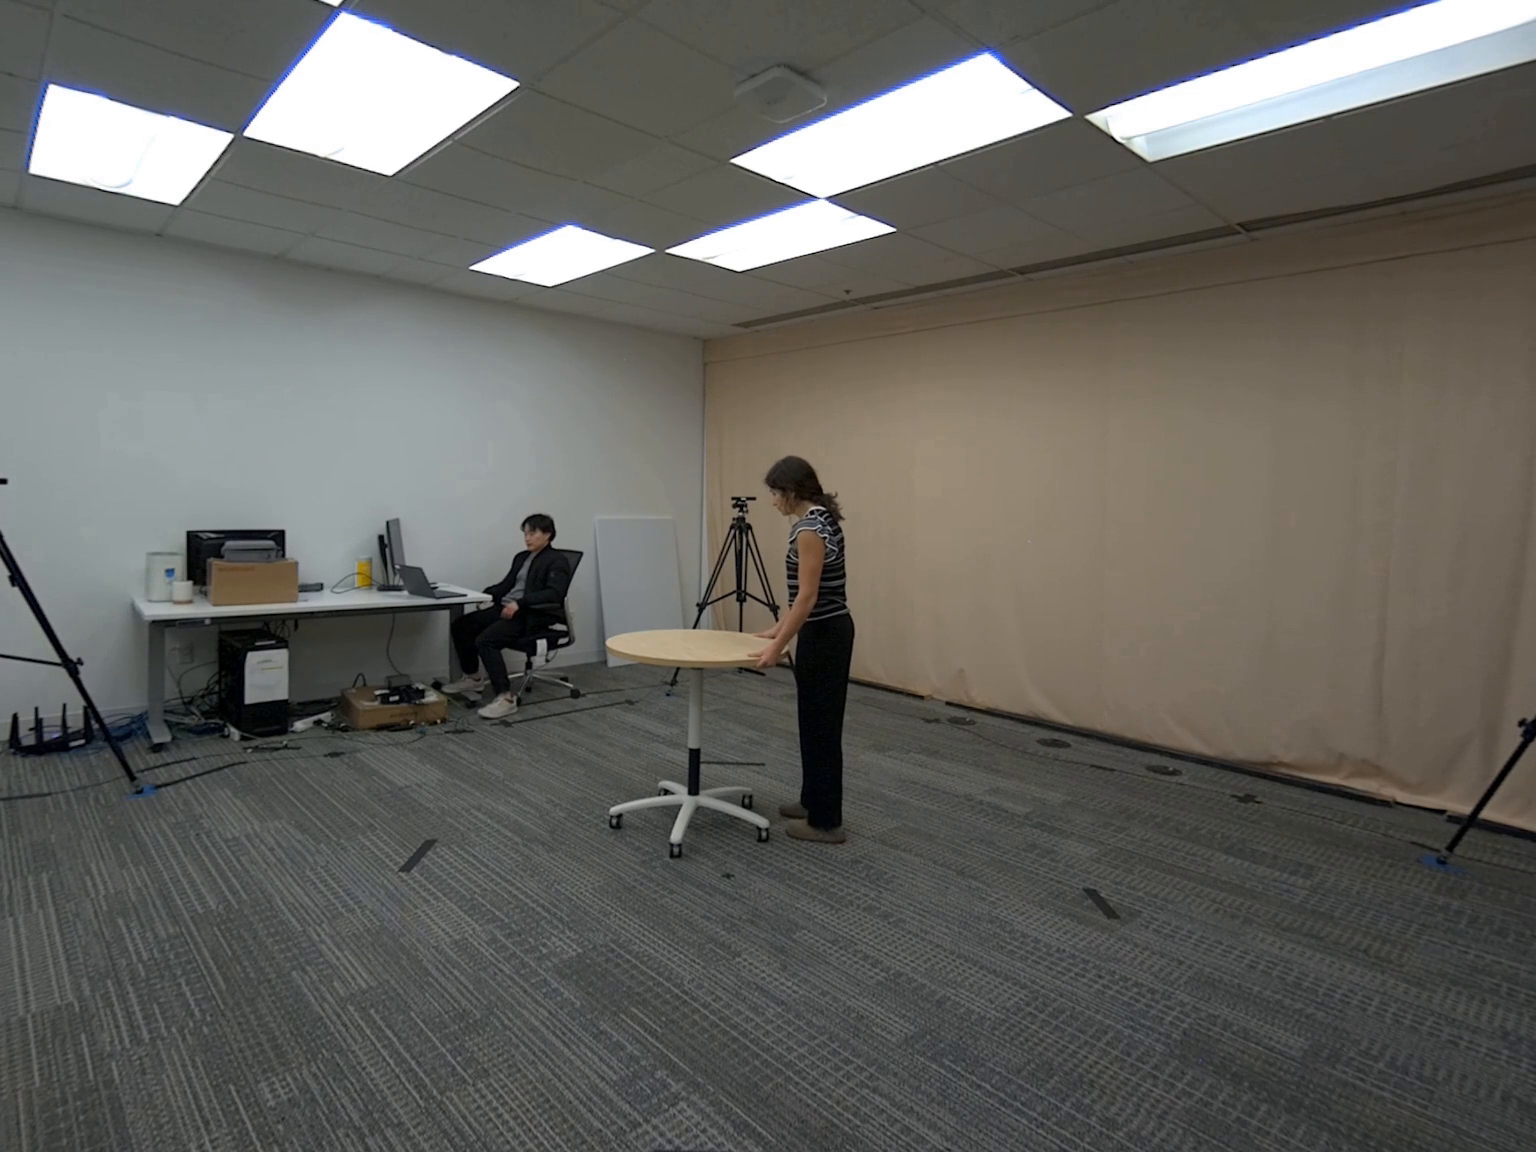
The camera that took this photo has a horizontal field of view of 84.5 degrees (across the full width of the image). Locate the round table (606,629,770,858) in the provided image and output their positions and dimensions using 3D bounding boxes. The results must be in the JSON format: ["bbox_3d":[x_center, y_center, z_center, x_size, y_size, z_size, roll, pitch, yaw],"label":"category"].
[{"bbox_3d":[-0.321,0.674,3.543,0.763,0.792,0.766,2,4,-1],"label":"round table"}]
